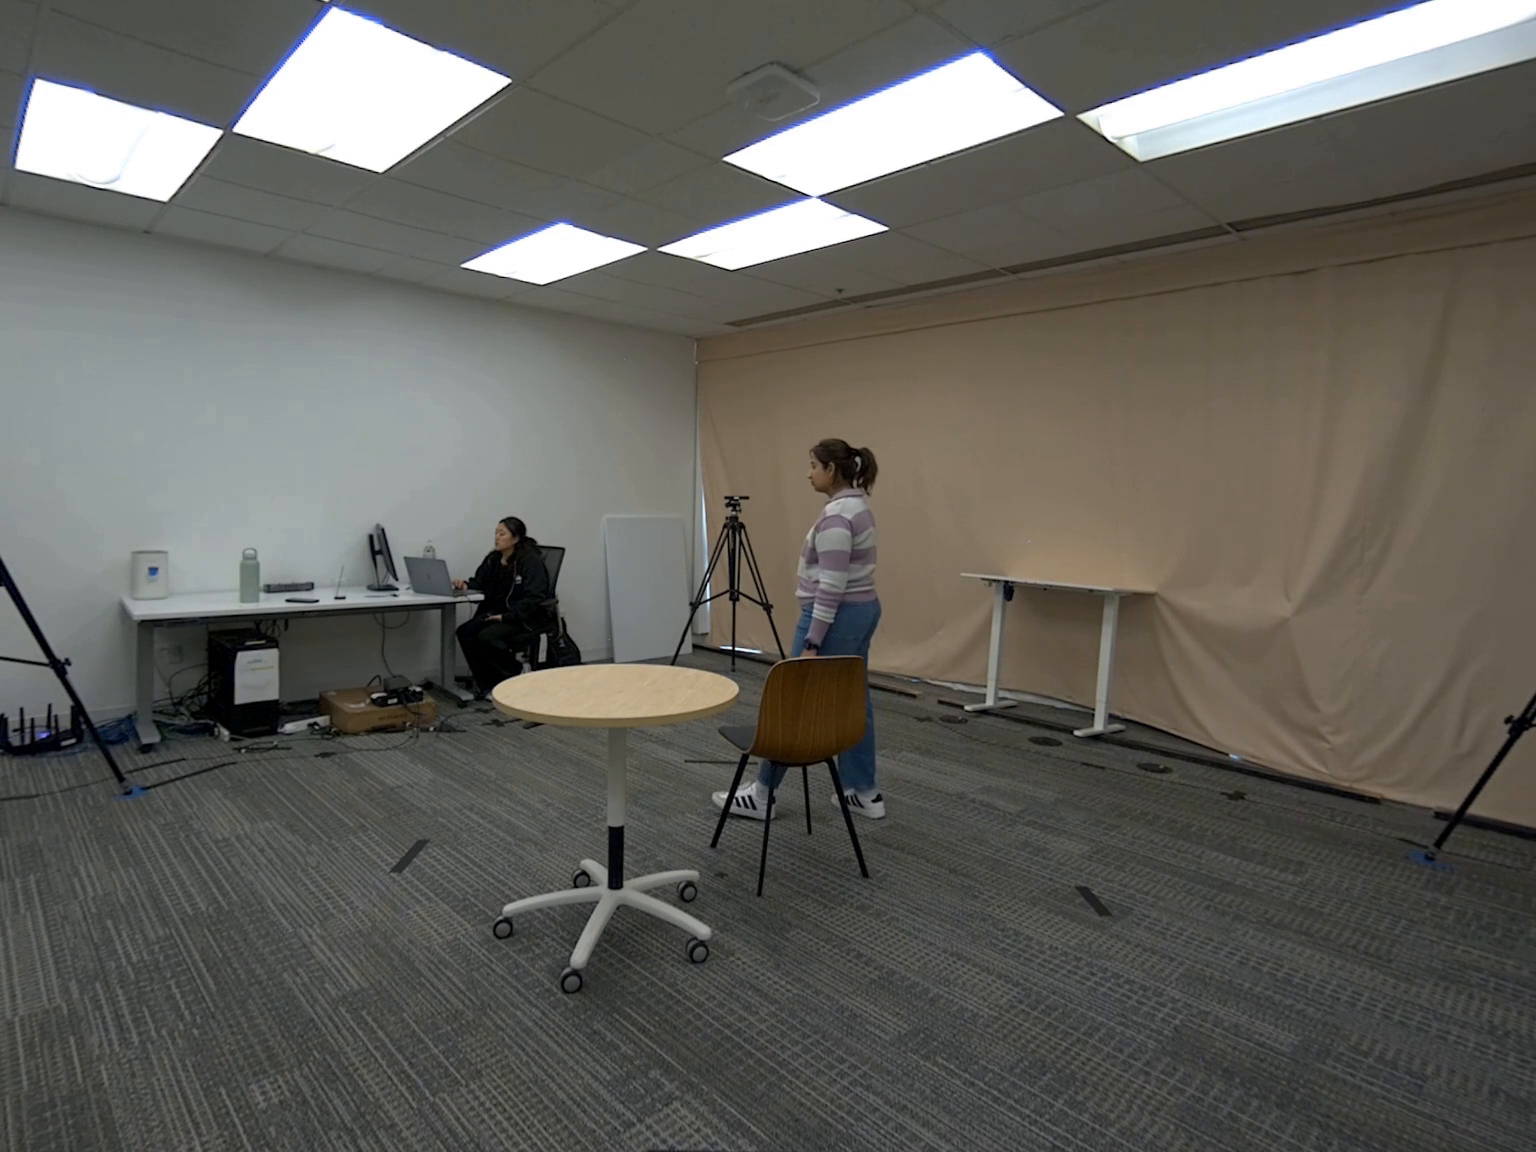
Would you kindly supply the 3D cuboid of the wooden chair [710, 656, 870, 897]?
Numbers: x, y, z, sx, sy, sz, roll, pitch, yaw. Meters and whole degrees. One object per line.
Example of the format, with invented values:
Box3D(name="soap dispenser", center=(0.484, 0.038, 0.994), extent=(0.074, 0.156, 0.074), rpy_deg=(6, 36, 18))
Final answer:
Box3D(name="wooden chair", center=(0.072, 0.672, 3.207), extent=(0.470, 0.873, 0.535), rpy_deg=(0, 8, -24))
